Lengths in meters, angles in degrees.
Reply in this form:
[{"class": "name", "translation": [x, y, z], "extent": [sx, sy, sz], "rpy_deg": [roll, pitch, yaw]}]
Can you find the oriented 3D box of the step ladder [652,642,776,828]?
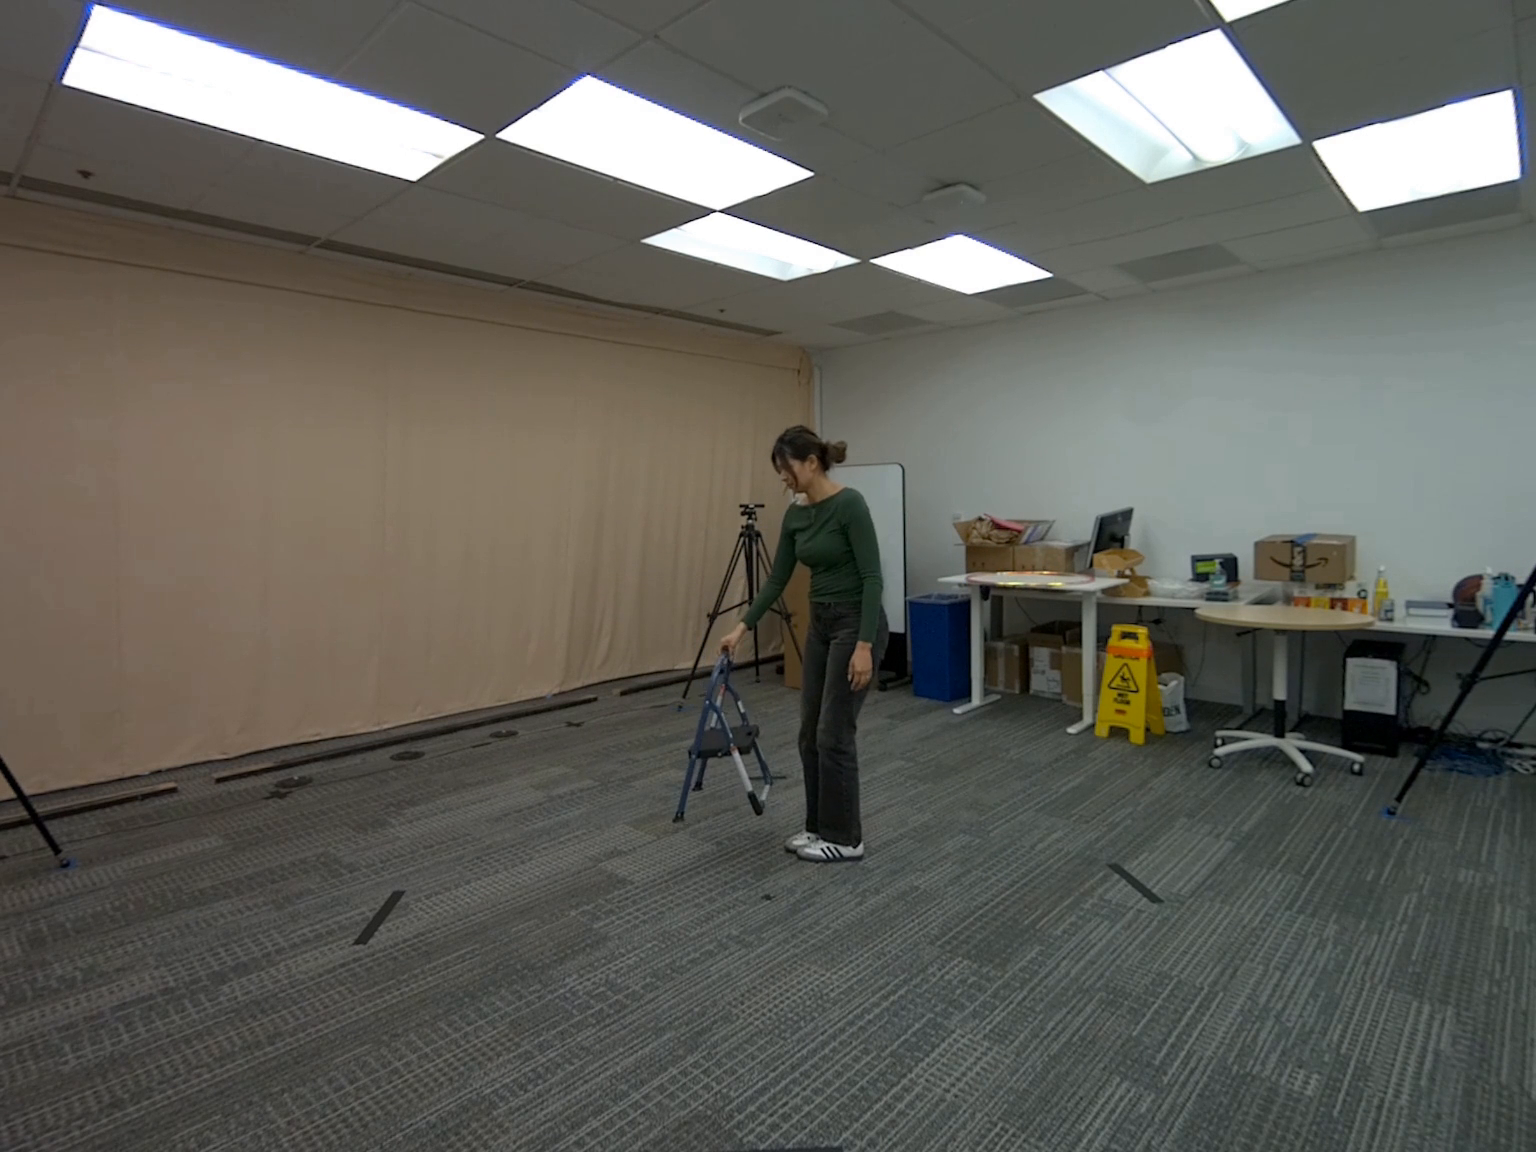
[{"class": "step ladder", "translation": [-0.205, 0.613, 3.387], "extent": [0.352, 0.605, 0.427], "rpy_deg": [-7, 1, 8]}]
